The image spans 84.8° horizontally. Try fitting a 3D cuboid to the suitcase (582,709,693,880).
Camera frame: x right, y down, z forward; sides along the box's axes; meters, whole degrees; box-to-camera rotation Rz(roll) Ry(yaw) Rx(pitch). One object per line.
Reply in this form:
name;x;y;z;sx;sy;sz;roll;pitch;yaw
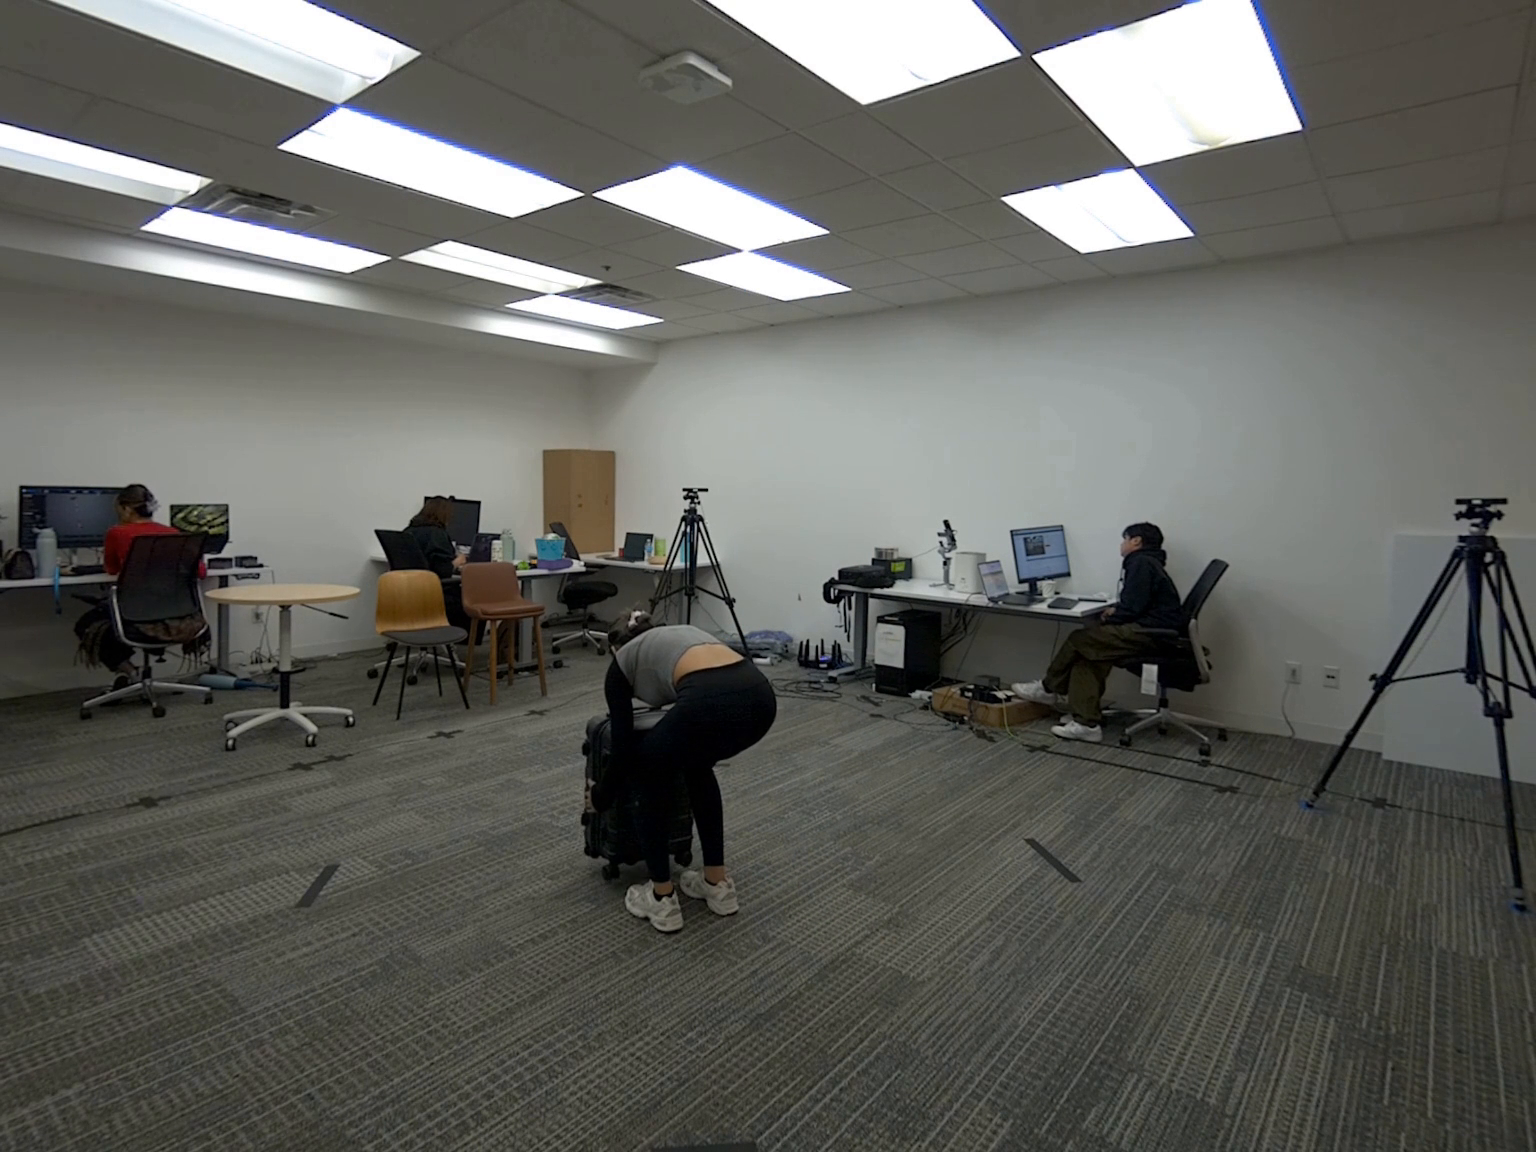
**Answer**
suitcase;-0.476;0.753;3.078;0.365;0.547;0.256;-1;5;-32
